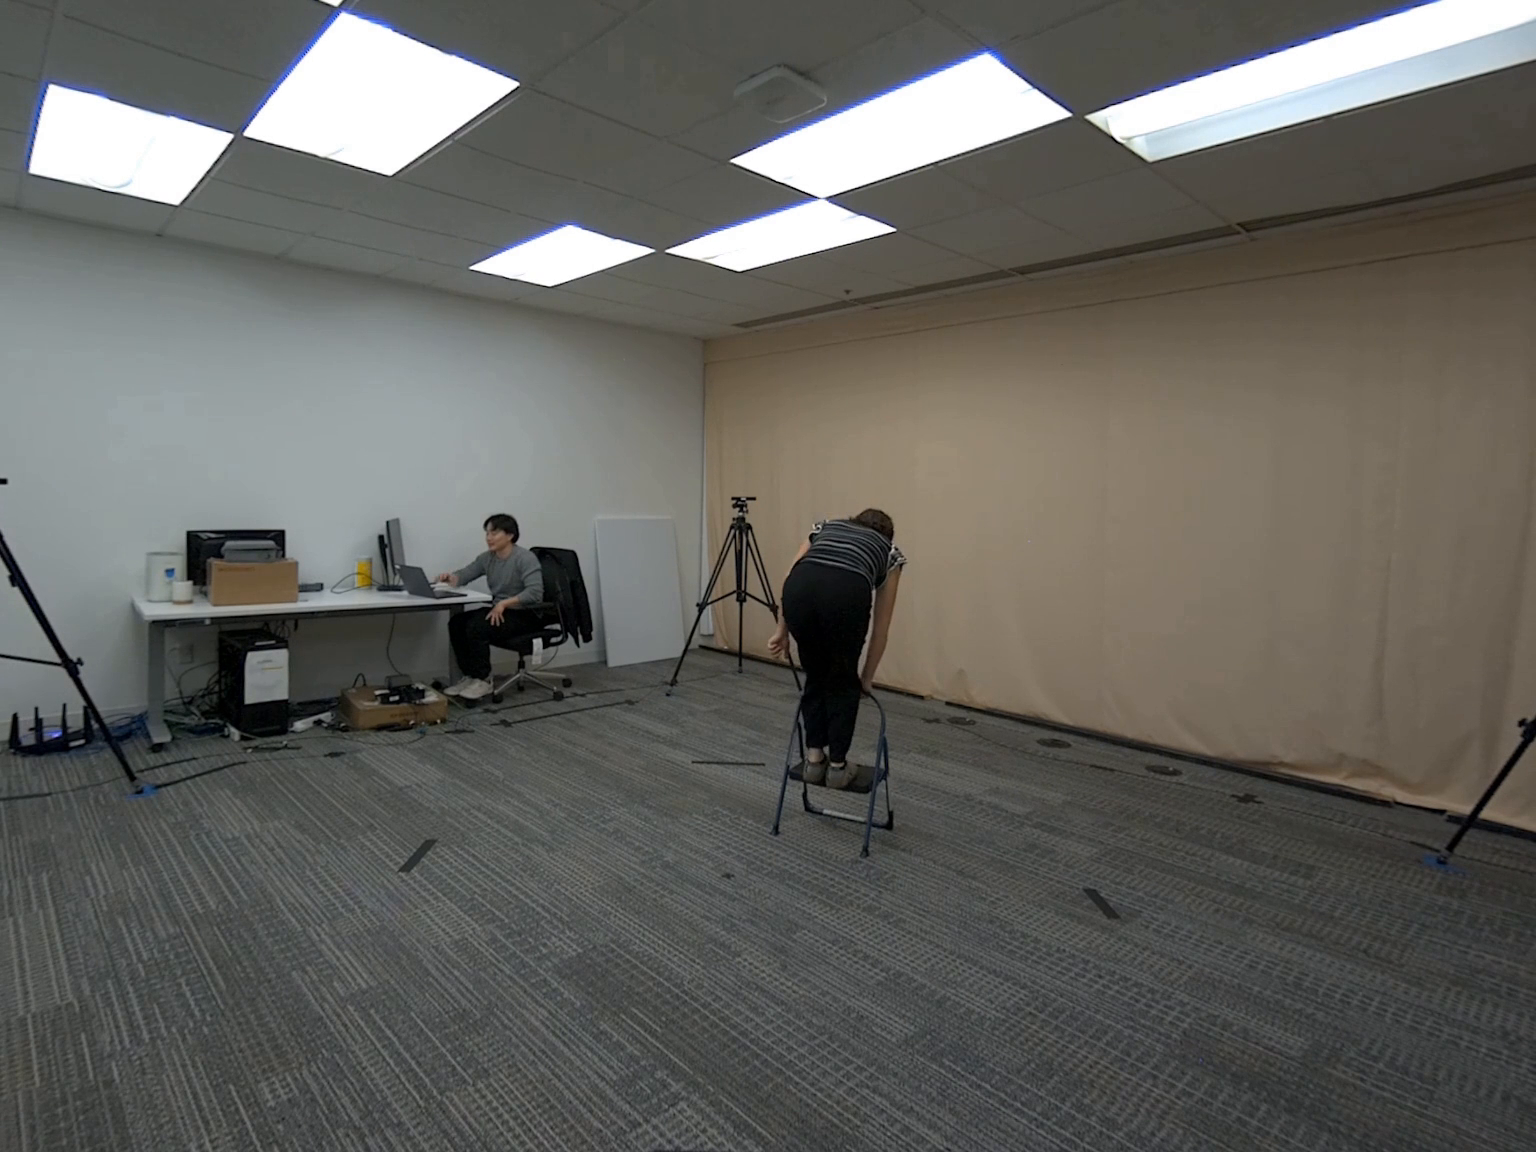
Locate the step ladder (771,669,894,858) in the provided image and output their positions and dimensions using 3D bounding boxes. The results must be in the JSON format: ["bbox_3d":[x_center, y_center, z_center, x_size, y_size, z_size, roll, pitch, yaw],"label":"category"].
[{"bbox_3d":[0.280,0.779,3.539,0.440,0.605,0.342,4,3,28],"label":"step ladder"}]
